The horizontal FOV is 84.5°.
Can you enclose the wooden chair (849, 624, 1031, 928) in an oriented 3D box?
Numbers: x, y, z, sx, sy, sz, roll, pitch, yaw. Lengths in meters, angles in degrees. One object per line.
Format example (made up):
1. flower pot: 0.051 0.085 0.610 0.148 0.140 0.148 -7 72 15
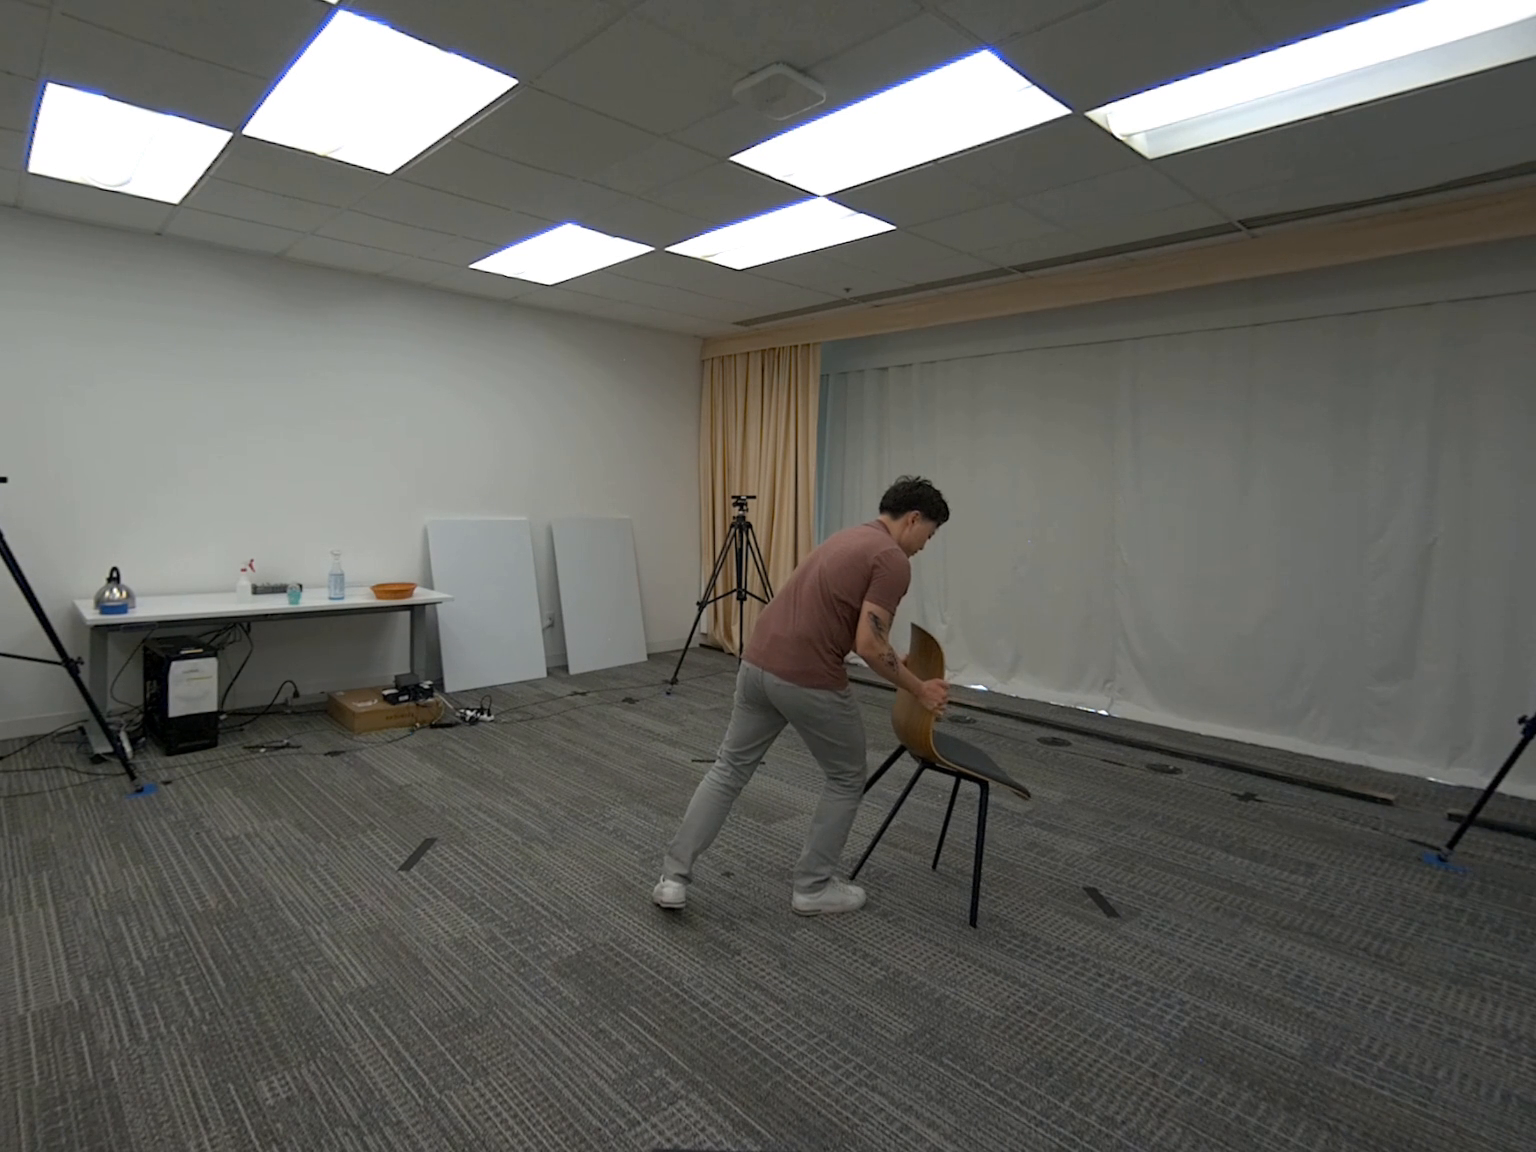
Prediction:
1. wooden chair: 0.617 0.662 2.942 0.521 0.876 0.480 18 2 -4
